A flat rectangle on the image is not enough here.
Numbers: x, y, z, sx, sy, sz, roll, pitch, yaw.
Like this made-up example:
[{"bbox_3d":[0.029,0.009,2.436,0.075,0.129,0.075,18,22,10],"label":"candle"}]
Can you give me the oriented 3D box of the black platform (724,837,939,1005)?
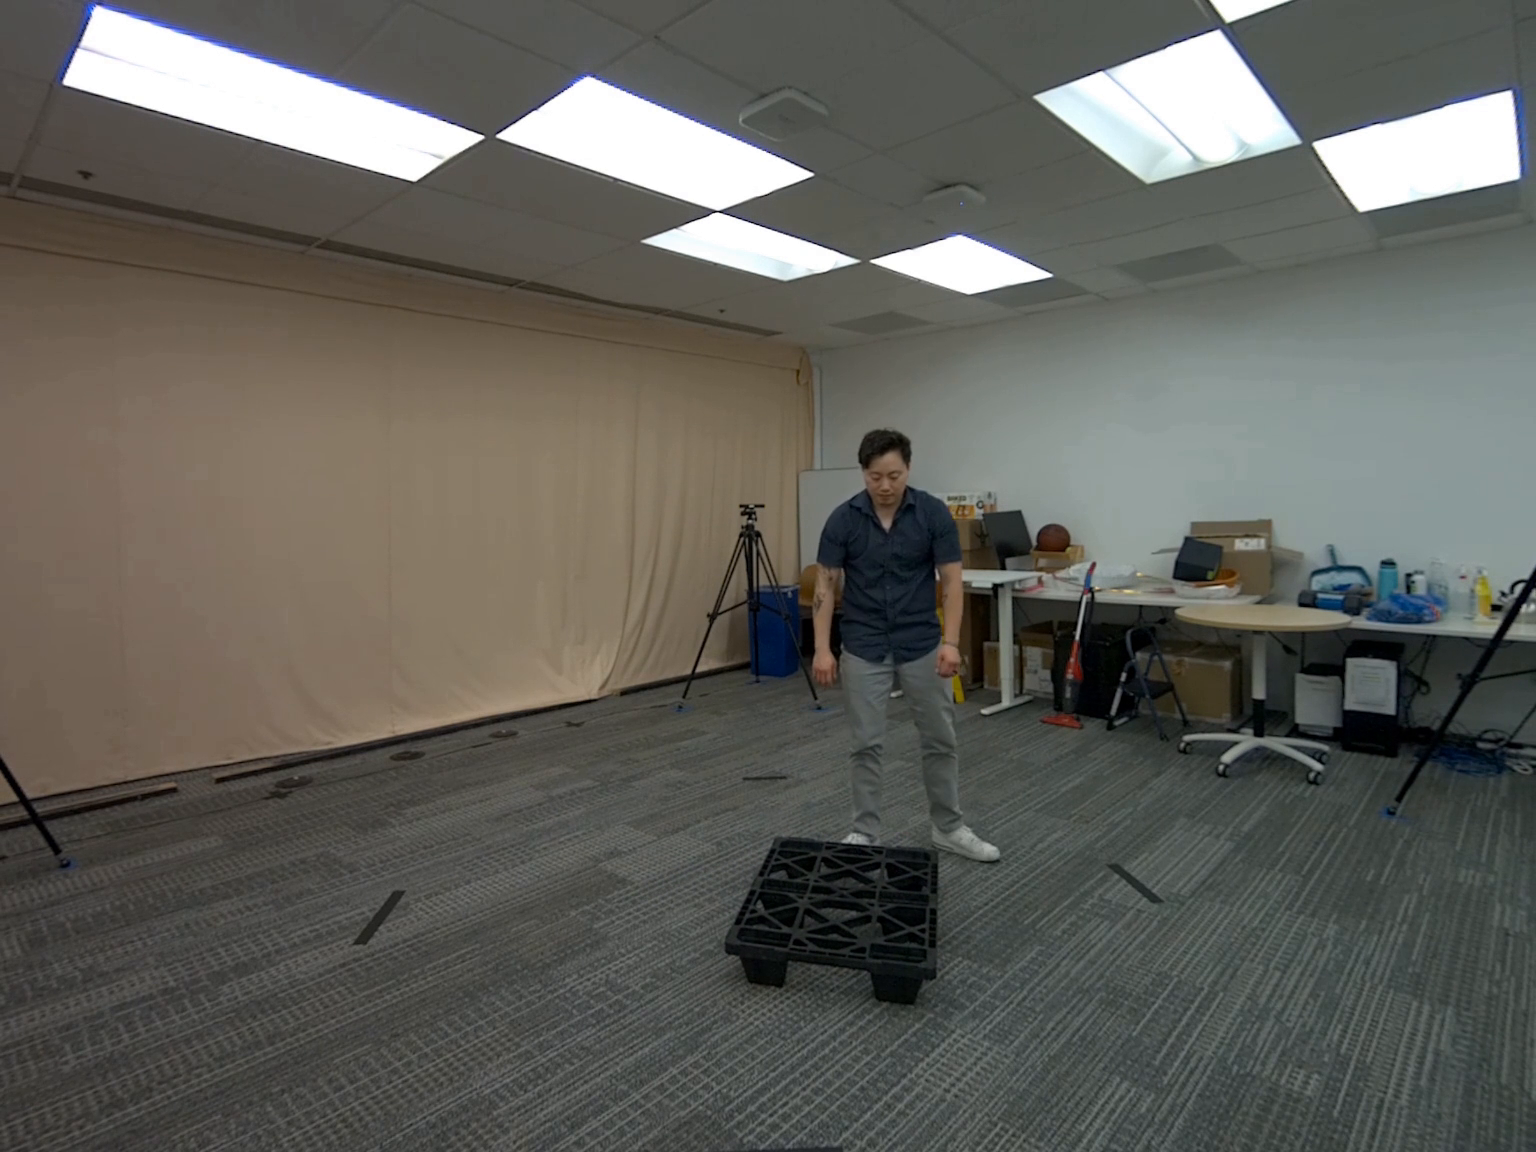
[{"bbox_3d":[0.250,1.088,2.739,0.614,0.143,0.796,1,5,13],"label":"black platform"}]
